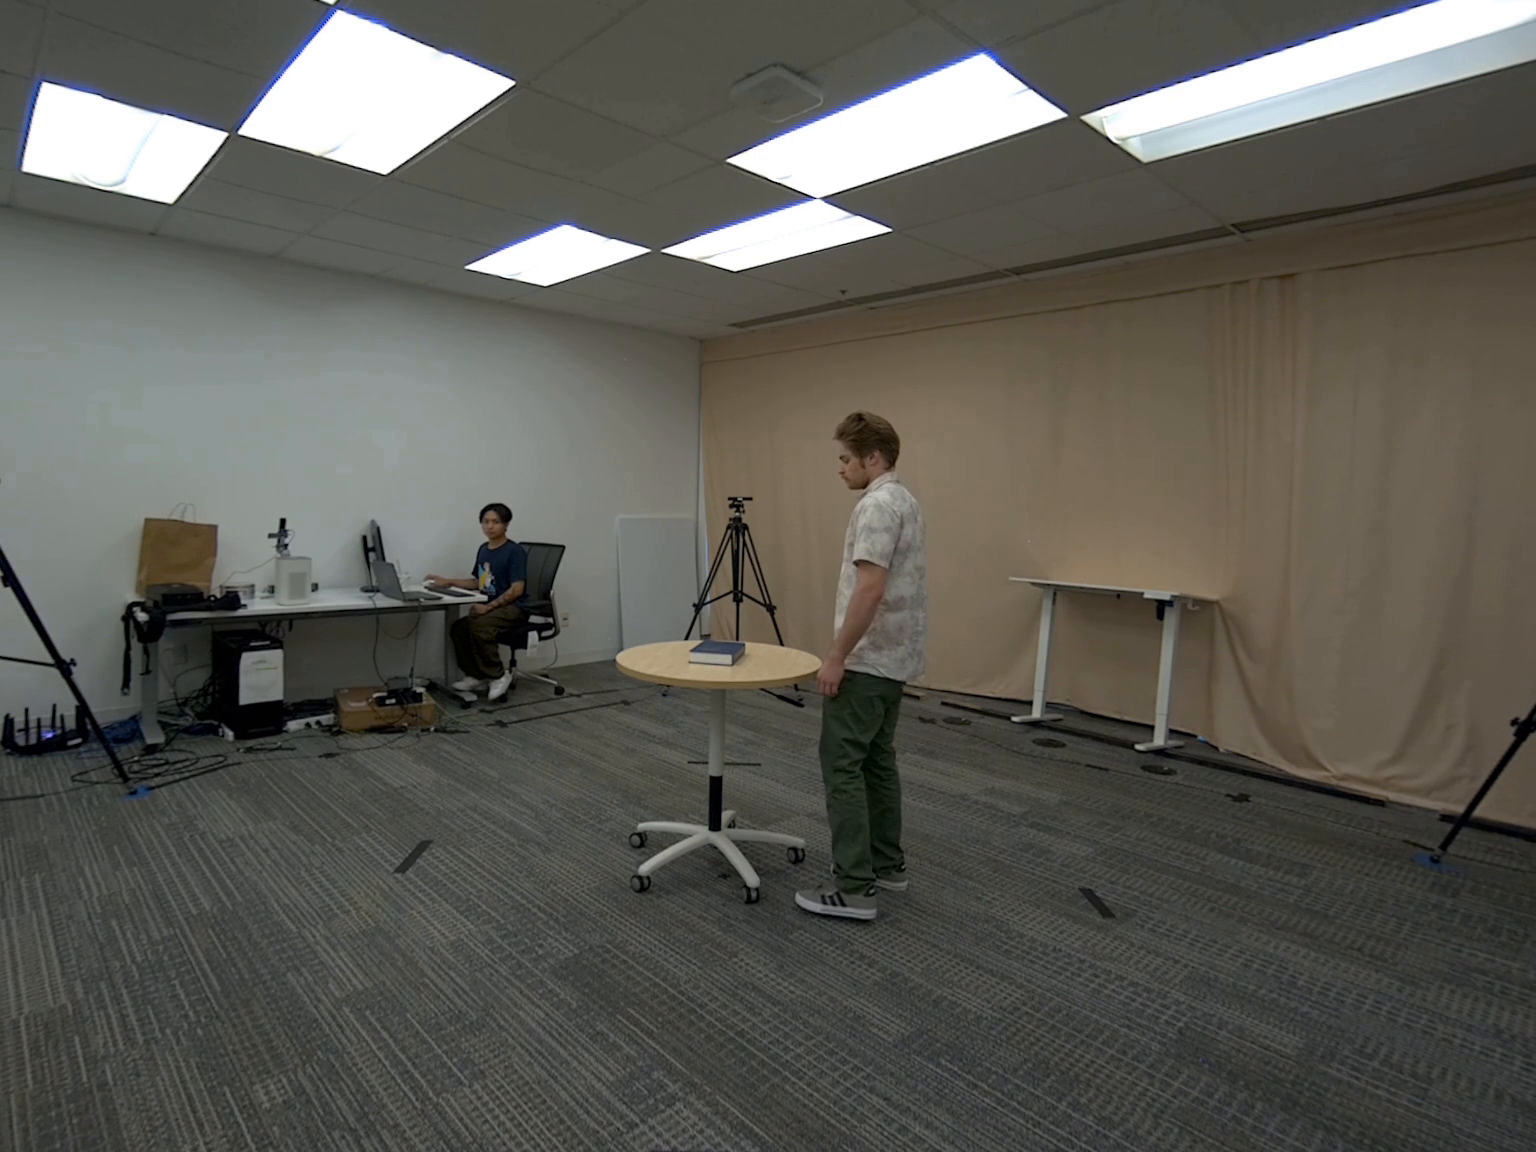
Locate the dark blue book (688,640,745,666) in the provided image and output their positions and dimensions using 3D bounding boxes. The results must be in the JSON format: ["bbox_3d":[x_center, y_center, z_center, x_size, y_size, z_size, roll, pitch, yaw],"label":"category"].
[{"bbox_3d":[-0.193,0.285,3.153,0.165,0.045,0.244,2,6,10],"label":"dark blue book"}]
